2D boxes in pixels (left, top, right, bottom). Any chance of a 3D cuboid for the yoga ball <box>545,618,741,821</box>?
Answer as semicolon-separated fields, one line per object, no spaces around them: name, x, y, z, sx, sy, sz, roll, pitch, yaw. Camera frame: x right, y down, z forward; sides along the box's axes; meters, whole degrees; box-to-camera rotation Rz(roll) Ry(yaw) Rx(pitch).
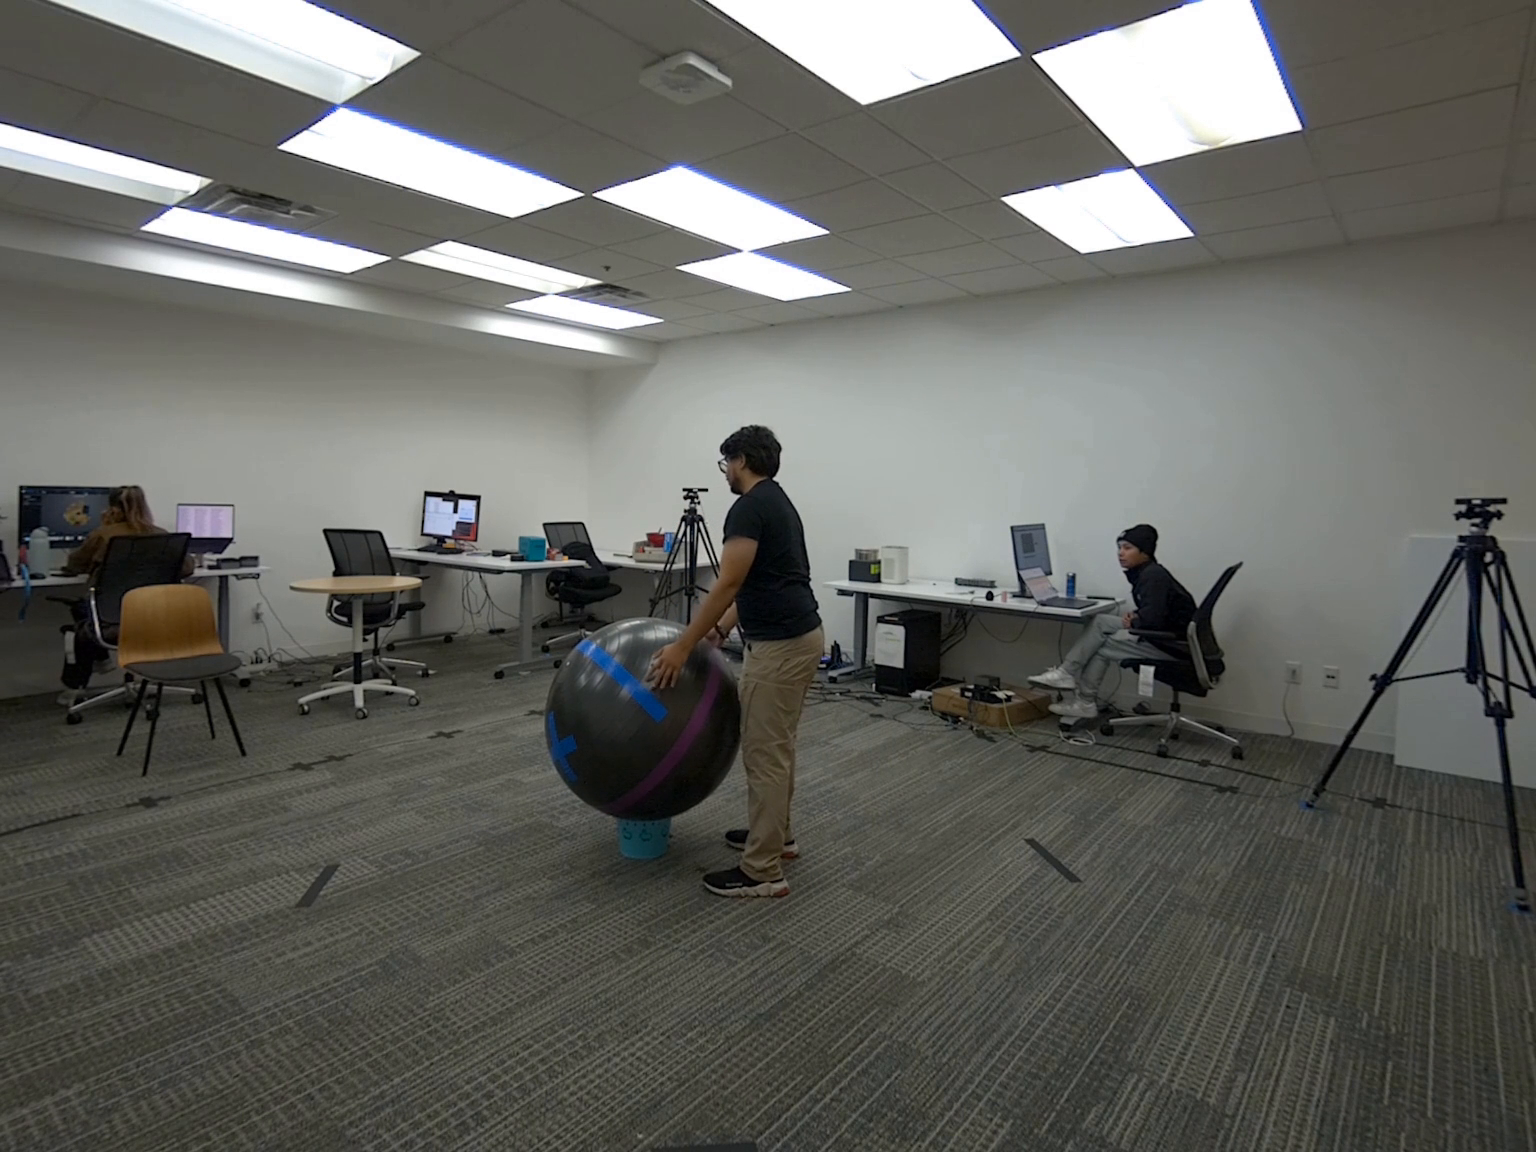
yoga ball;-0.493;0.546;3.263;0.757;0.756;0.761;1;4;-2
